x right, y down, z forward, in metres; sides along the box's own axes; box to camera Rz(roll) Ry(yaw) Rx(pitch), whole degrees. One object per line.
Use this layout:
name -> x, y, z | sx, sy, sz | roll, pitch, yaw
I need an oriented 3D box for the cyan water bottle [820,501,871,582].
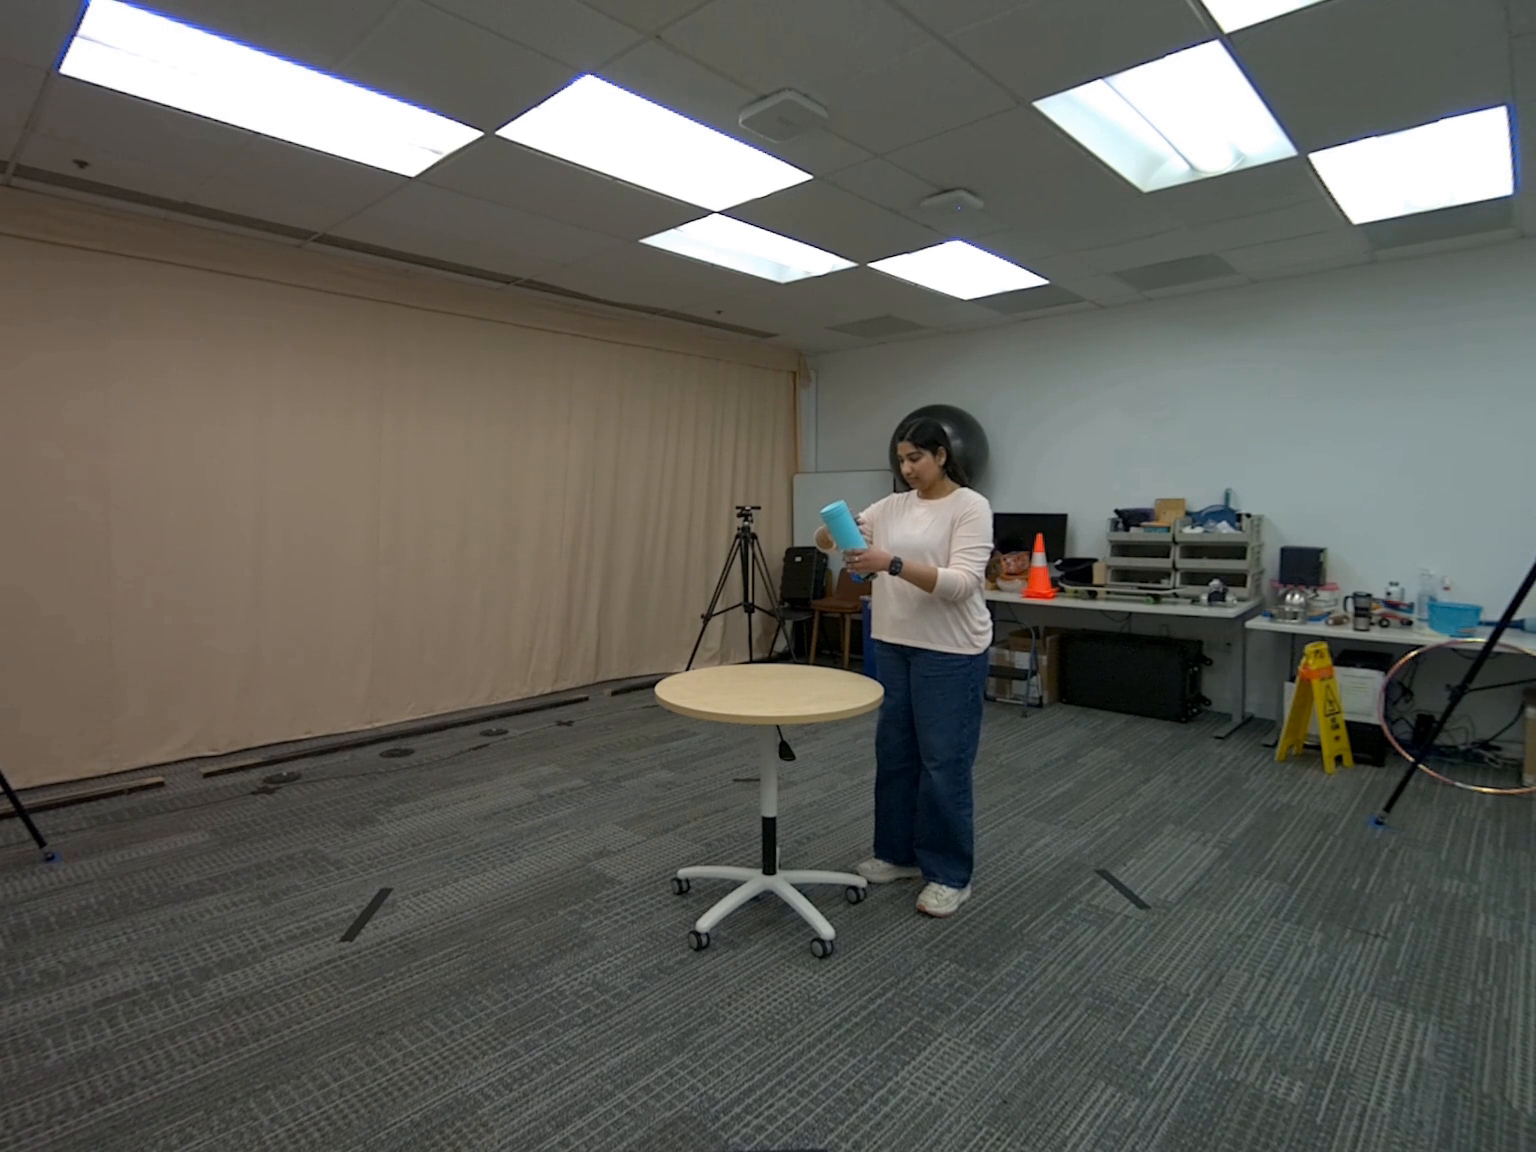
cyan water bottle -> 0.290, -0.105, 2.802 | 0.092, 0.281, 0.093 | -24, 7, 2
